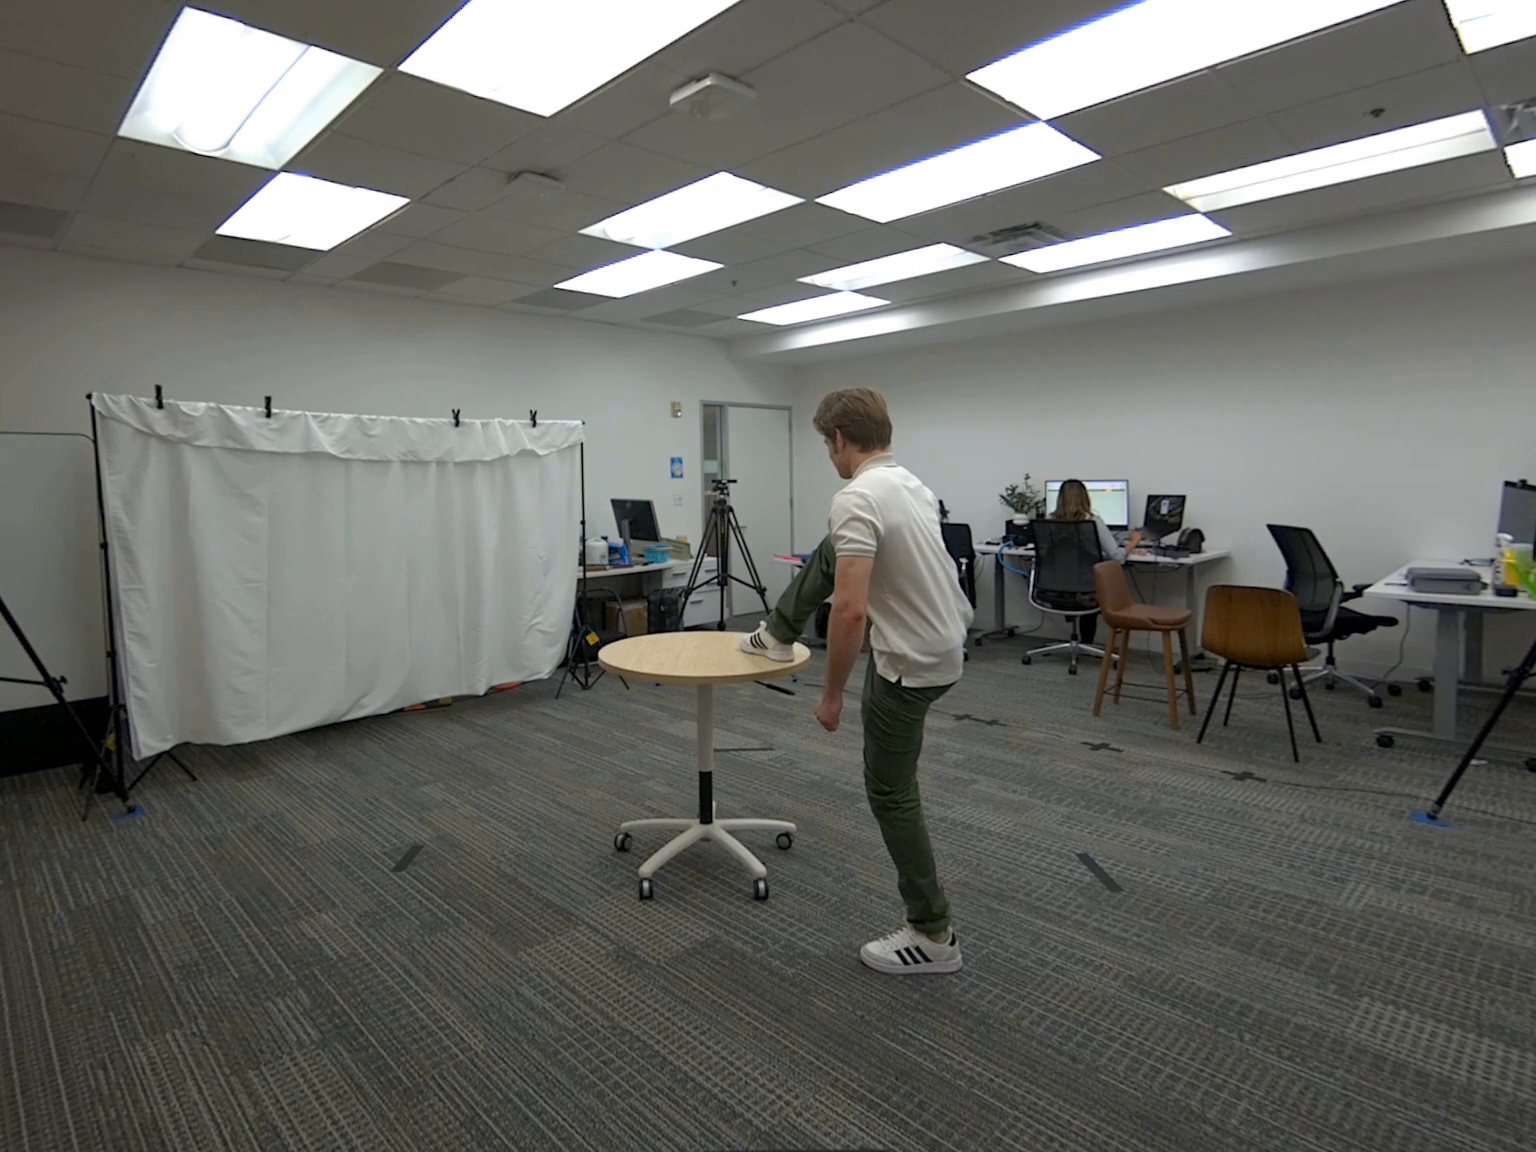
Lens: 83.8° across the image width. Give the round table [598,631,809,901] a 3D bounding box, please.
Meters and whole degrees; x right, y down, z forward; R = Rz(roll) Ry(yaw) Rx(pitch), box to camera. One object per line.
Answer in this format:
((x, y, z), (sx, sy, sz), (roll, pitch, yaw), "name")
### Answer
((-0.233, 0.662, 3.128), (0.763, 0.791, 0.768), (0, 5, -2), "round table")
